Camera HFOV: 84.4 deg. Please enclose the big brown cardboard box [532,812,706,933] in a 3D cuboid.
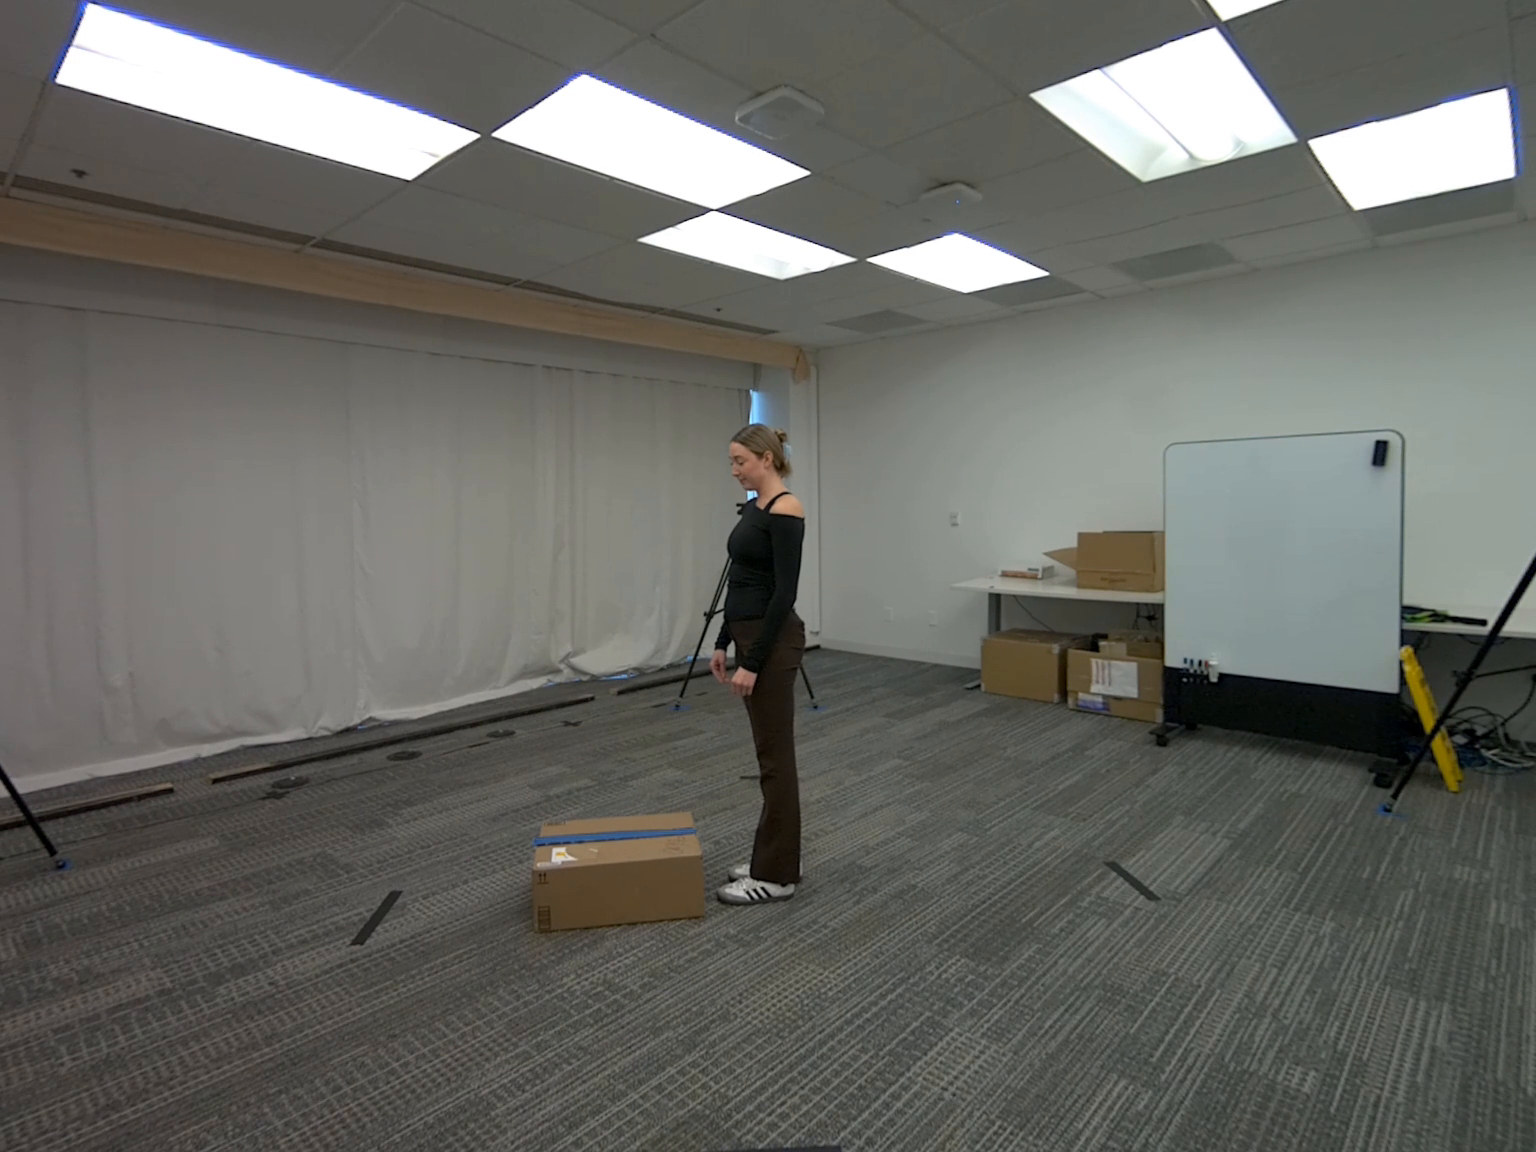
[{"bbox_3d":[-0.535,1.036,2.999,0.583,0.232,0.423,-1,4,-9],"label":"big brown cardboard box"}]
